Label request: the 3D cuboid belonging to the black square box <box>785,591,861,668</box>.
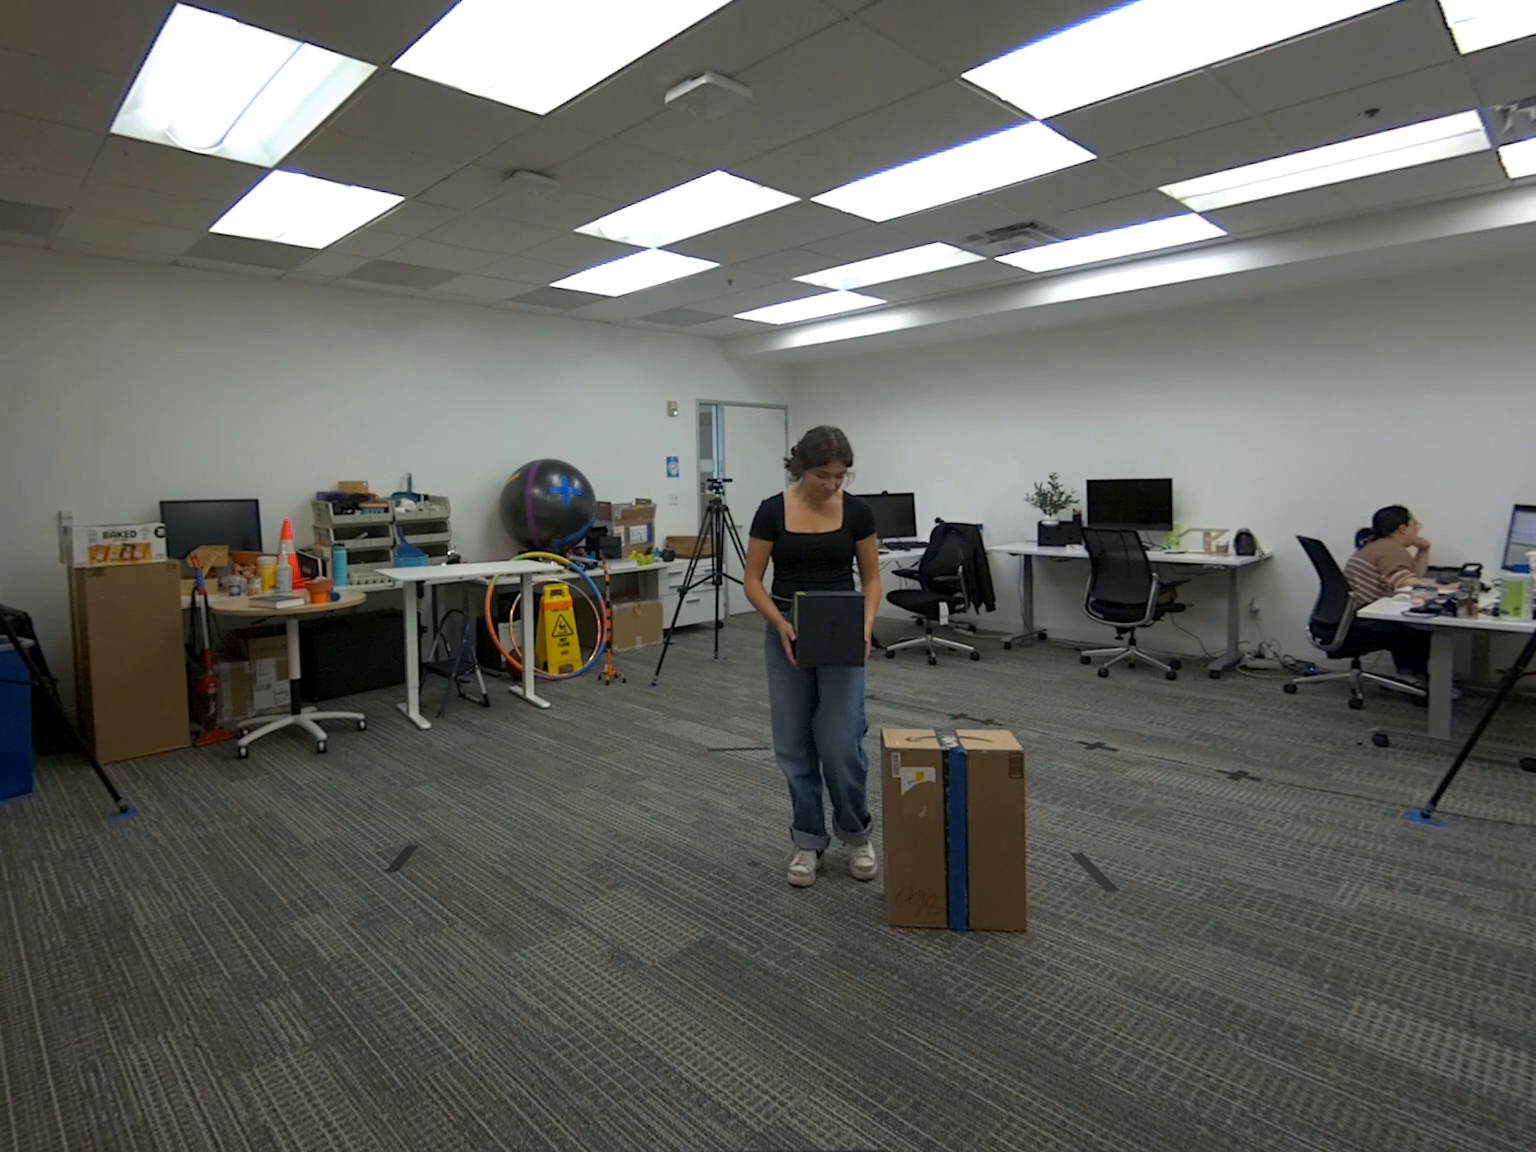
[{"bbox_3d":[0.171,0.169,2.766,0.216,0.227,0.157,1,2,-5],"label":"black square box"}]
